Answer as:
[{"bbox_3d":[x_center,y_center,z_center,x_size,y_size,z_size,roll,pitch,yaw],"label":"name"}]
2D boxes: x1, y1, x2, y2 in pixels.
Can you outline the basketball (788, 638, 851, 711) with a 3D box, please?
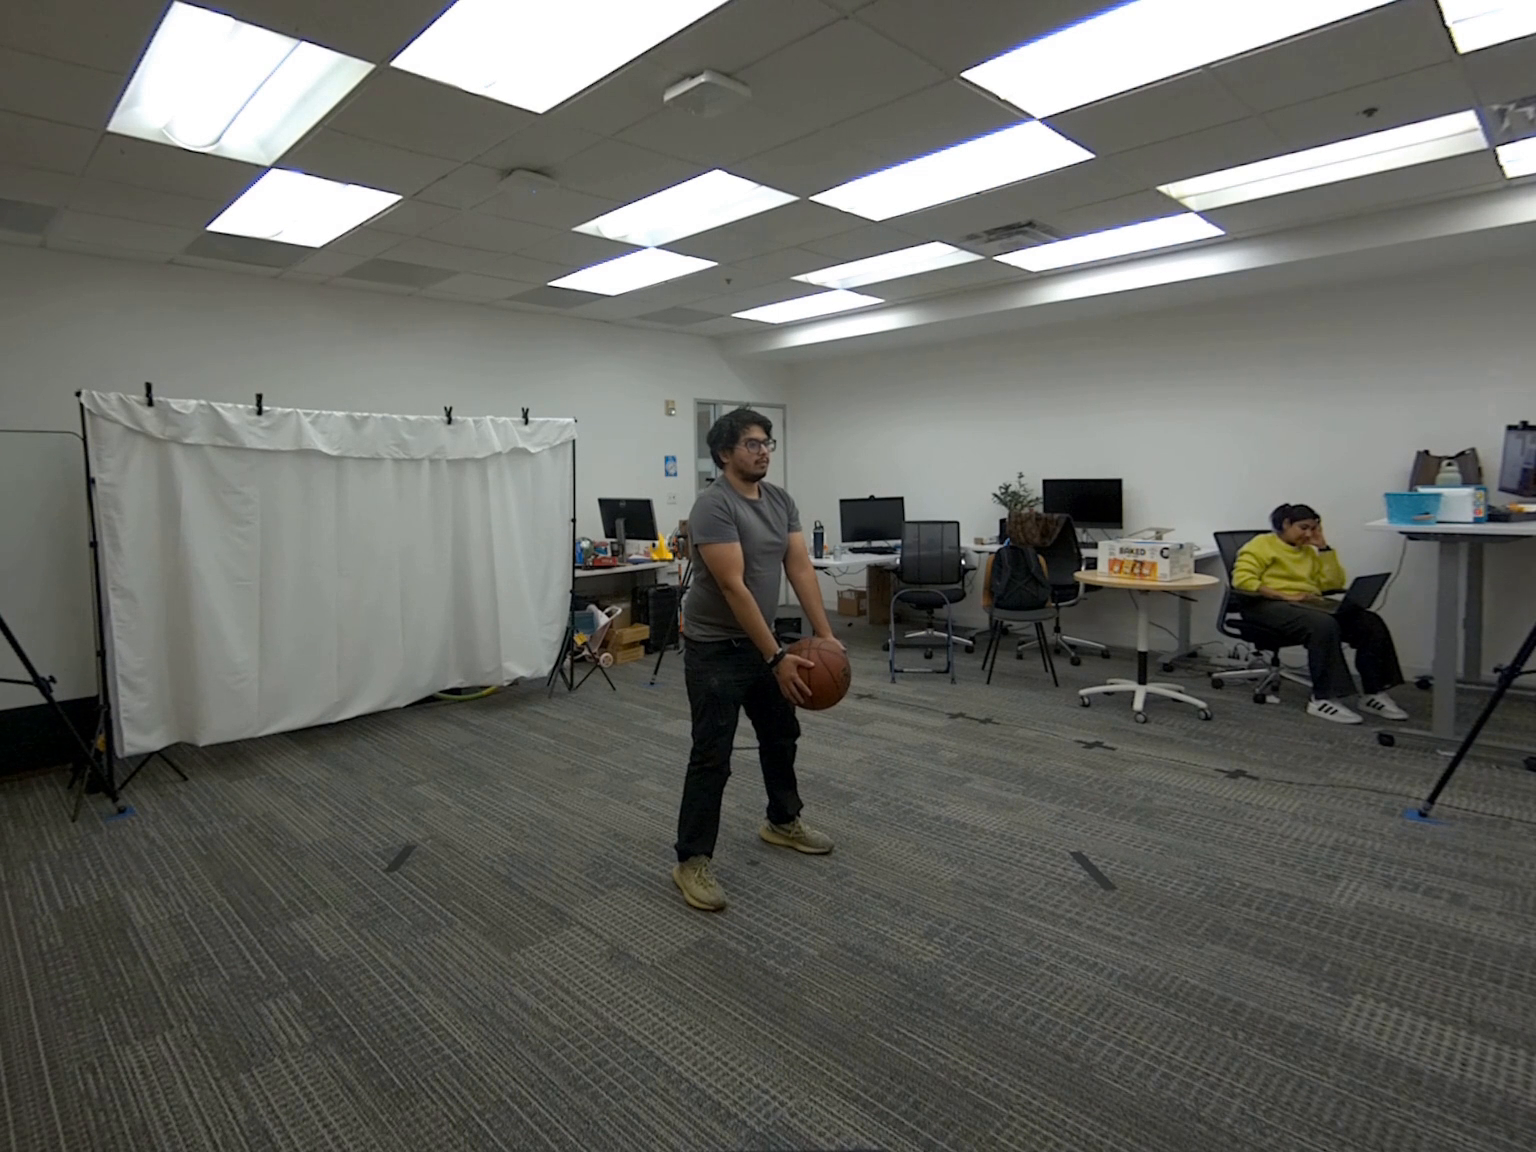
[{"bbox_3d":[0.153,0.324,2.809,0.236,0.235,0.237,-1,5,-2],"label":"basketball"}]
